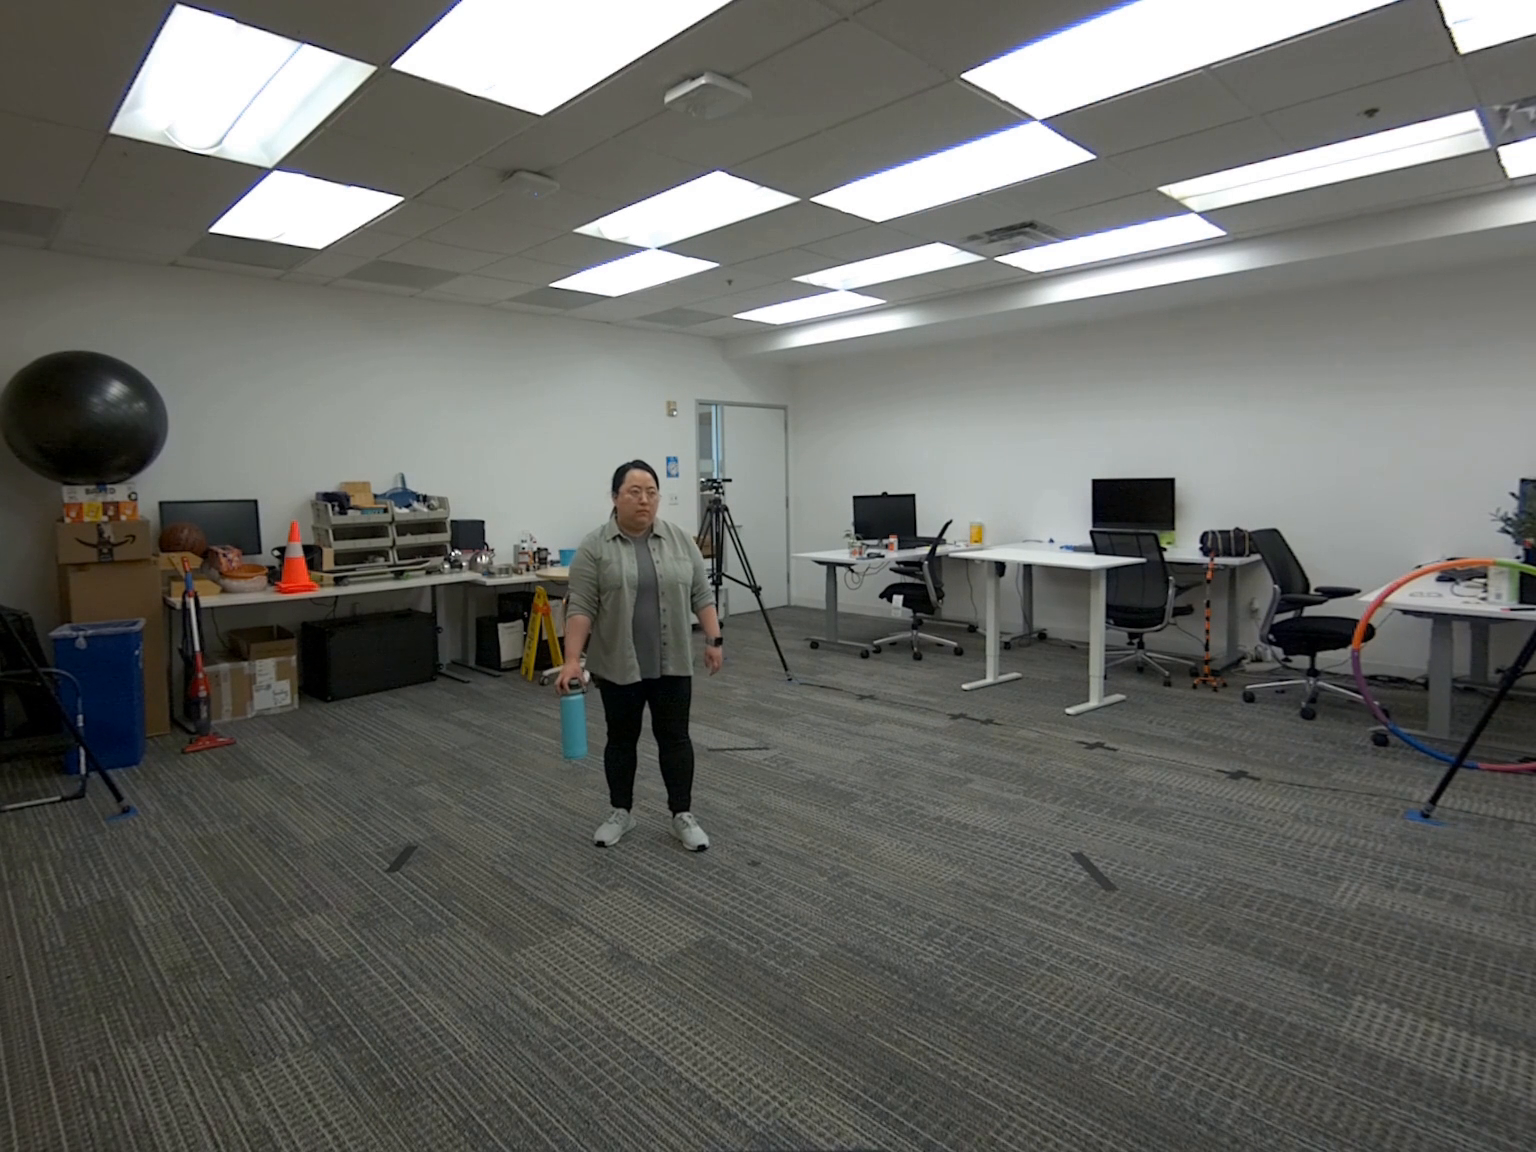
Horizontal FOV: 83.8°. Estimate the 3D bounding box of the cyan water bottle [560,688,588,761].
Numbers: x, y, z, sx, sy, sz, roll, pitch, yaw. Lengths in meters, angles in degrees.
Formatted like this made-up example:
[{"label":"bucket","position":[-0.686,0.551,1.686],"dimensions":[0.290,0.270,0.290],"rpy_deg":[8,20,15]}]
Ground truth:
[{"label":"cyan water bottle","position":[-0.716,0.519,3.114],"dimensions":[0.092,0.283,0.092],"rpy_deg":[-3,2,-1]}]
